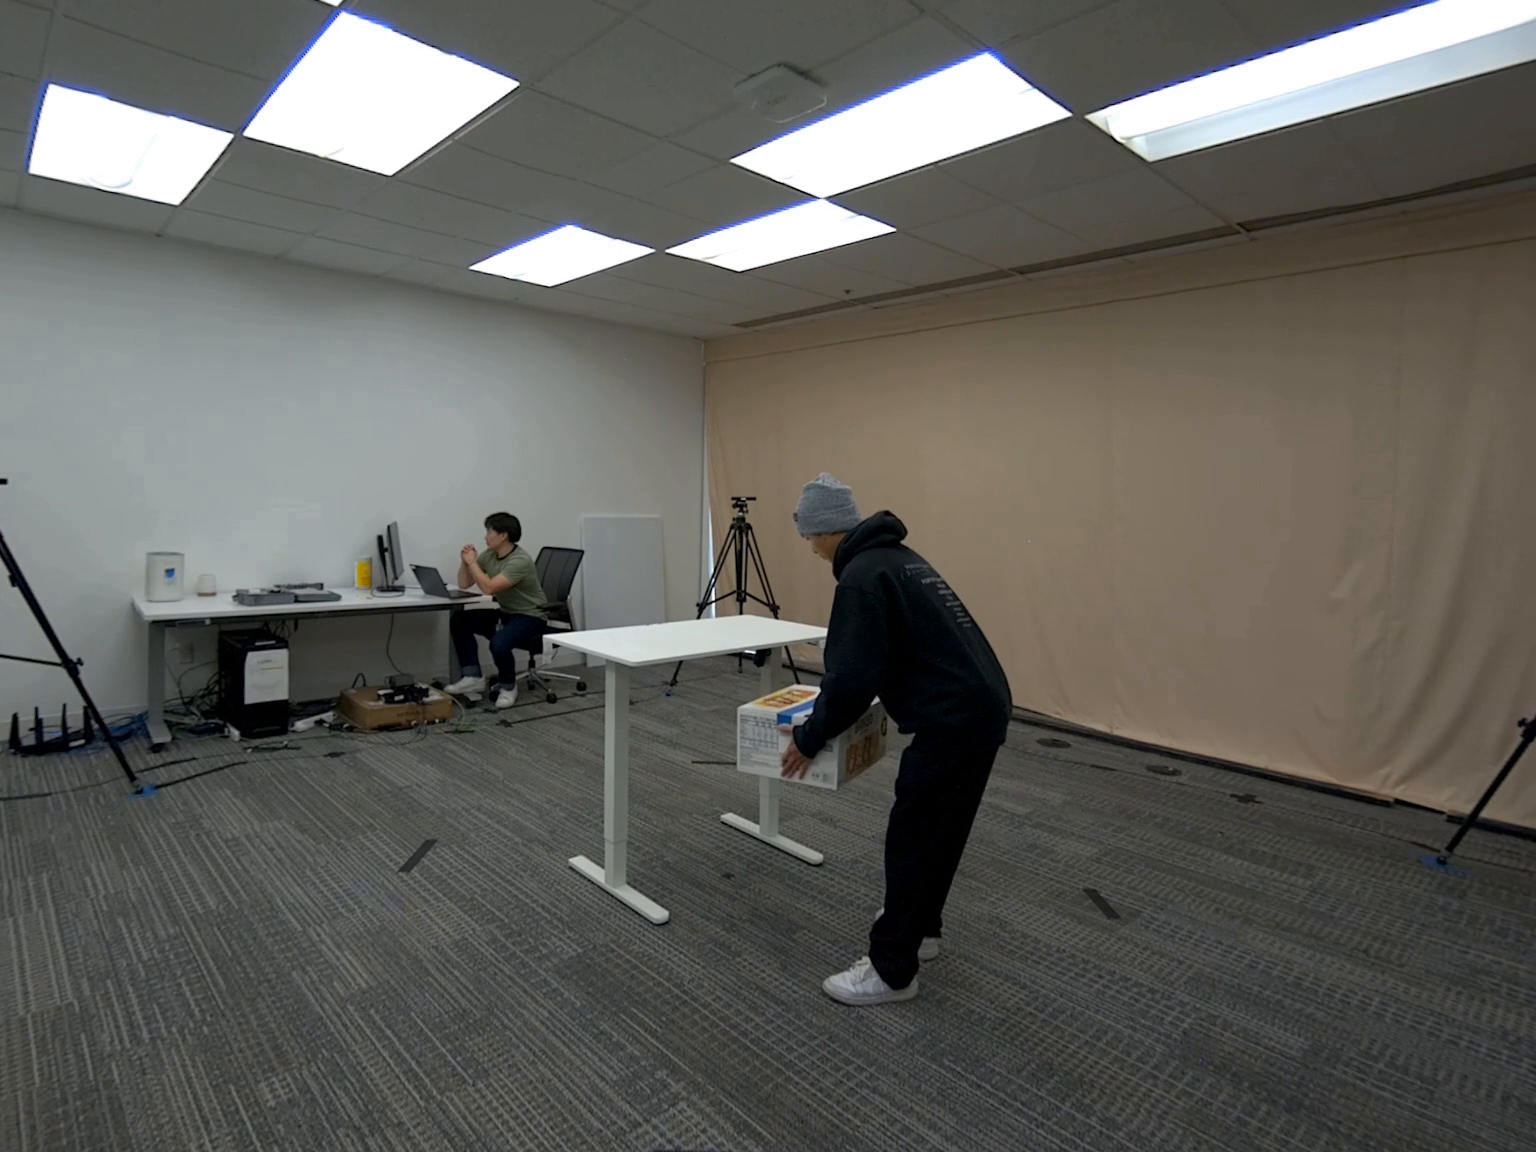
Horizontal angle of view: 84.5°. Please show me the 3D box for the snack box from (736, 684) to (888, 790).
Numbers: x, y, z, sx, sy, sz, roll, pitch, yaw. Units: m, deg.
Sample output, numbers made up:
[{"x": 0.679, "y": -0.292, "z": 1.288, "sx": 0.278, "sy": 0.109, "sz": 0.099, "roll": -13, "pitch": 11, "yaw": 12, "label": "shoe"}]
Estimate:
[{"x": 0.142, "y": 0.497, "z": 2.678, "sx": 0.347, "sy": 0.205, "sz": 0.398, "roll": 2, "pitch": 5, "yaw": 30, "label": "snack box"}]
